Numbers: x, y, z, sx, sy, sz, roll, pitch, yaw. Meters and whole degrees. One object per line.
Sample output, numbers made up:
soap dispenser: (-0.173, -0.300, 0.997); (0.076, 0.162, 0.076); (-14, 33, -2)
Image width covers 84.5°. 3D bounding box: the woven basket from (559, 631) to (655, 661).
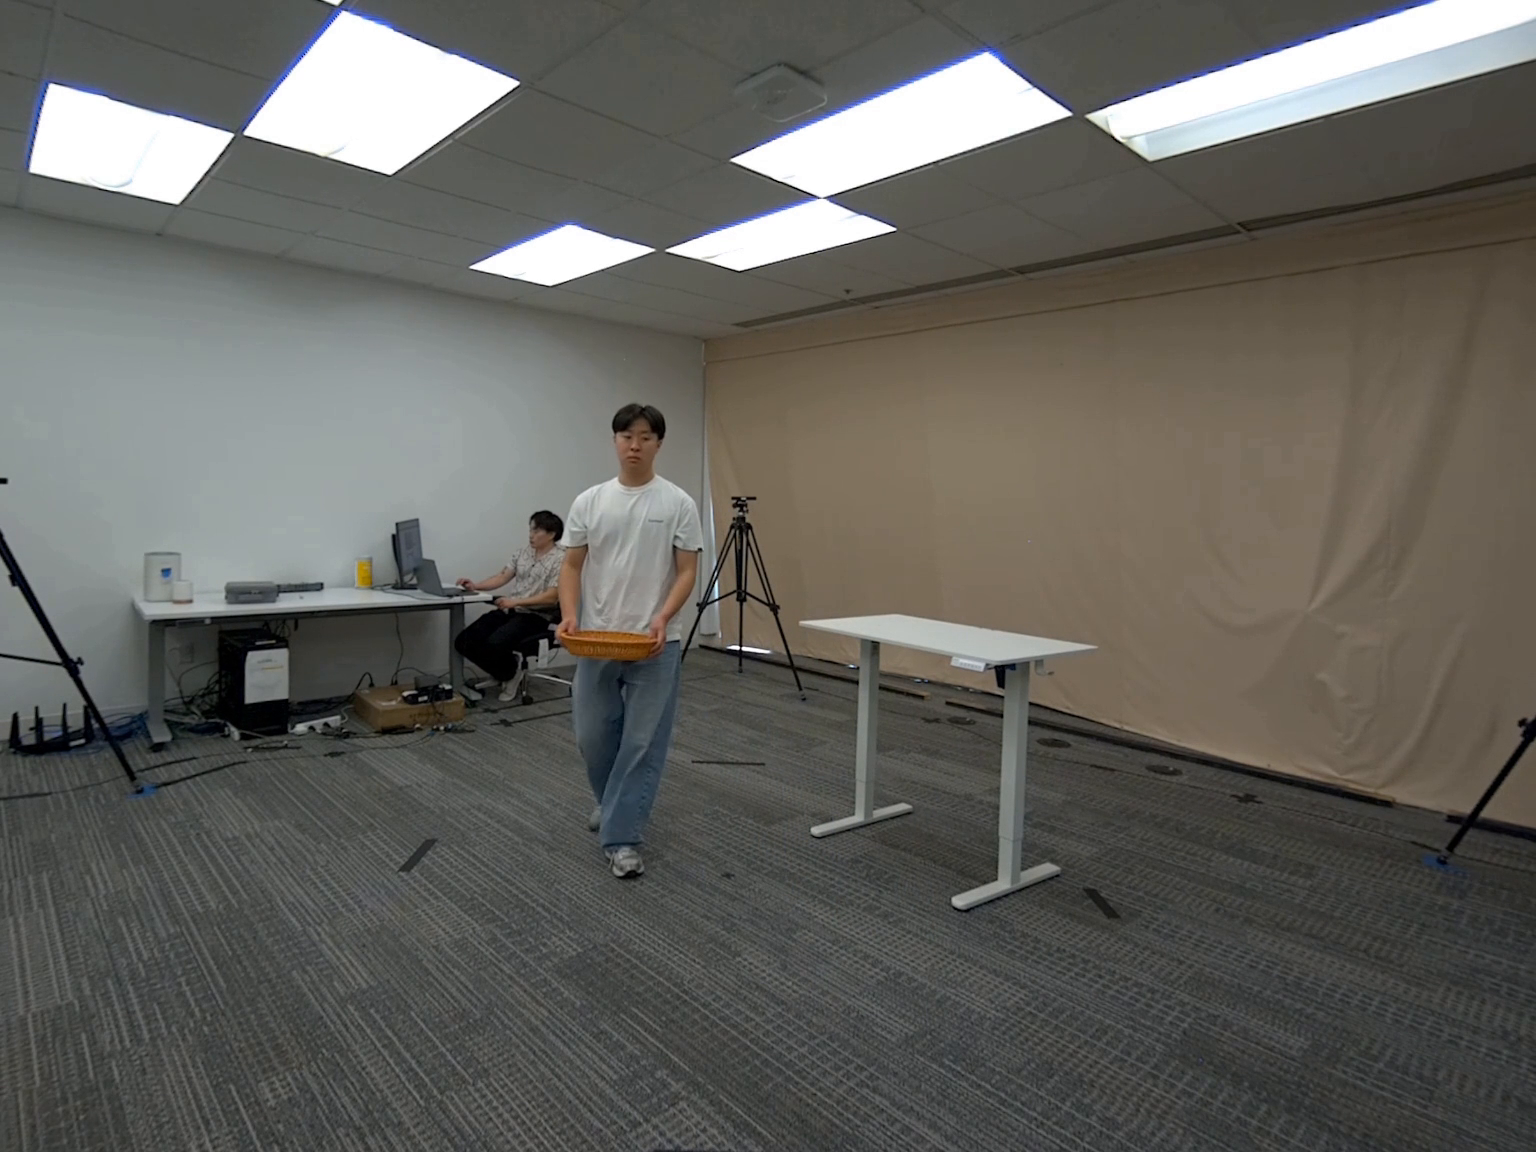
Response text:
woven basket: (-0.588, 0.242, 3.000); (0.355, 0.073, 0.250); (6, 5, 14)
